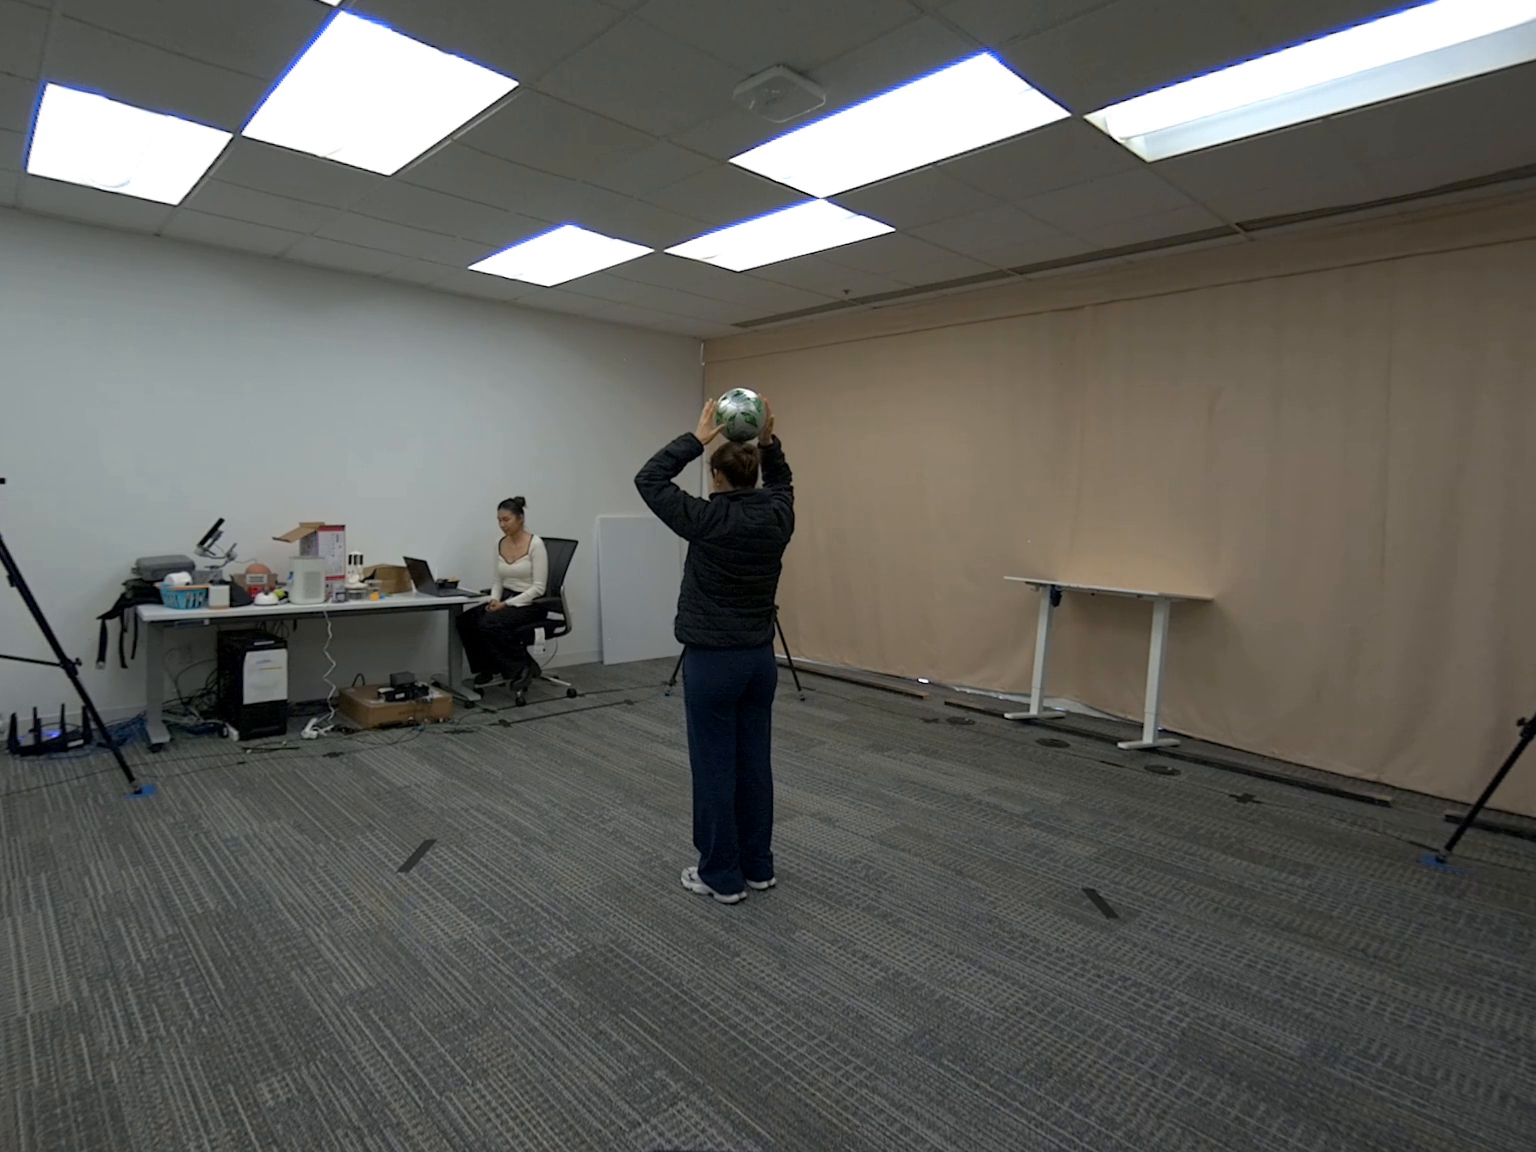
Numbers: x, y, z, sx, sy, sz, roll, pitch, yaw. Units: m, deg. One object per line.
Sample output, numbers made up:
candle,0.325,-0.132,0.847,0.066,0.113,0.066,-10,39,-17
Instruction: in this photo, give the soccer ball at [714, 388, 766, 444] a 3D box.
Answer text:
soccer ball,-0.103,-0.563,2.973,0.187,0.187,0.188,1,4,-1
